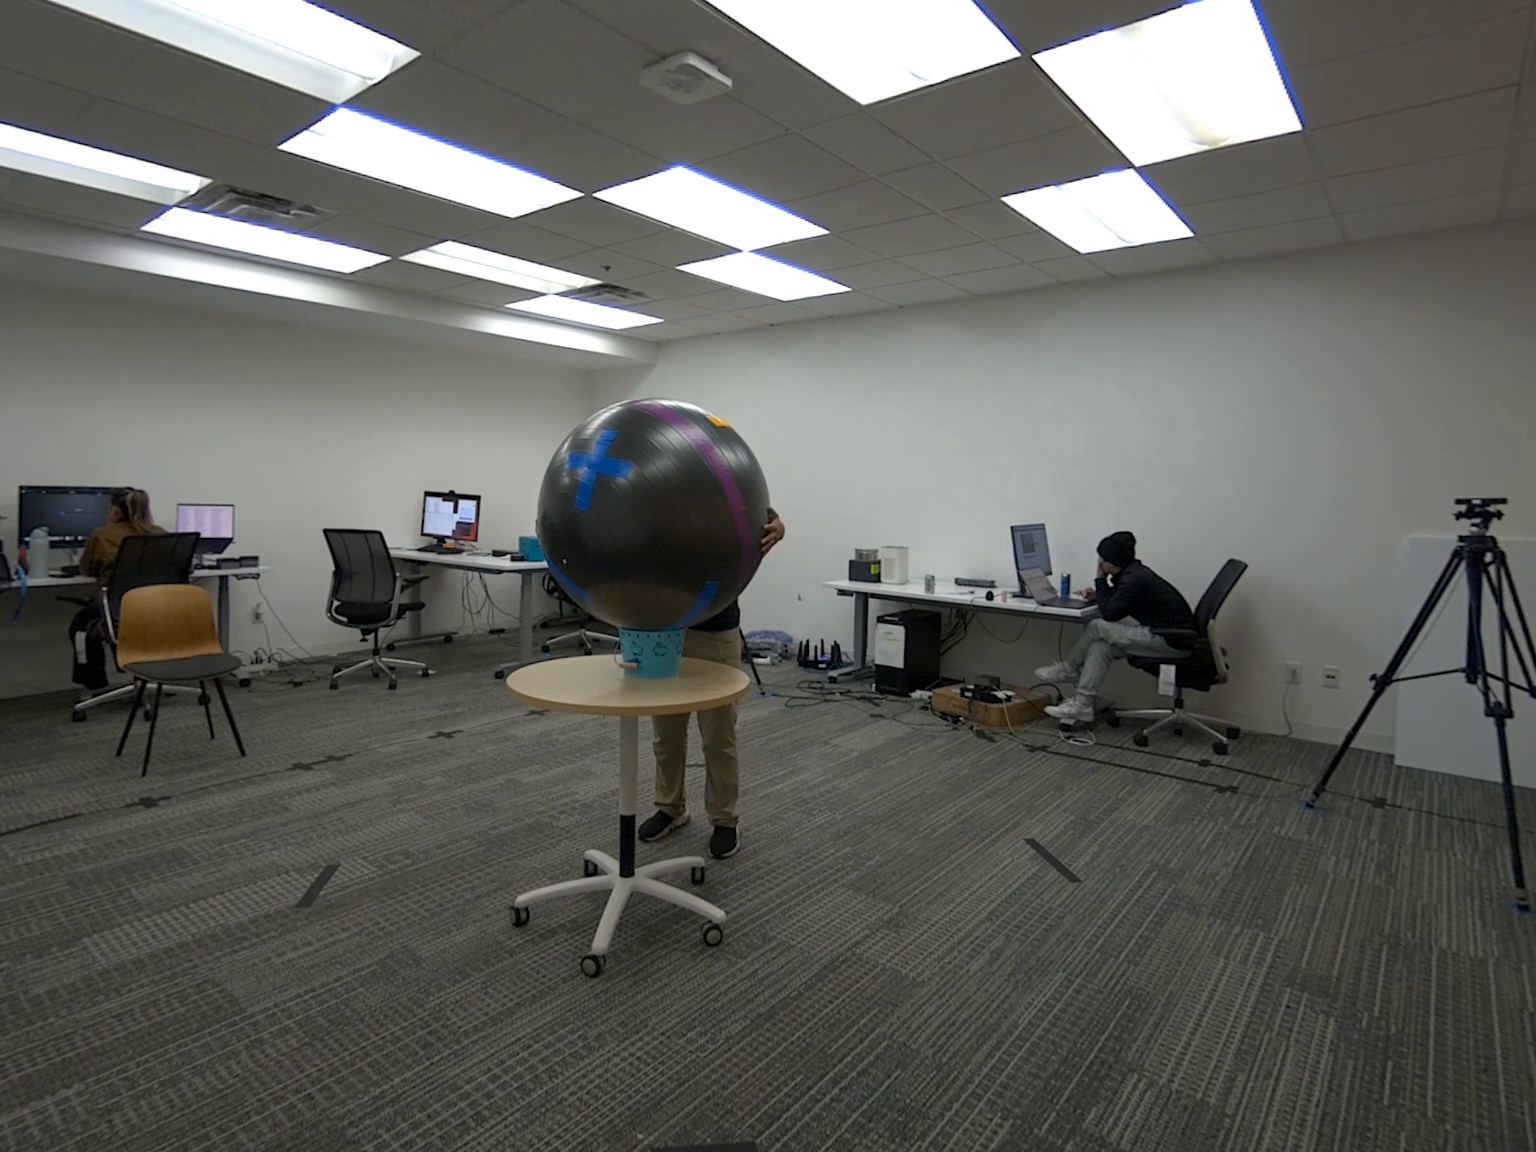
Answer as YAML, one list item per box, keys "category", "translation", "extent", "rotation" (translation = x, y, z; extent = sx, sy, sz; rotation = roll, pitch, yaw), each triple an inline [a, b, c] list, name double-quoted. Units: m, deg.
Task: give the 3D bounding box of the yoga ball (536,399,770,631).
- category: "yoga ball"
  translation: [-0.376, -0.195, 2.771]
  extent: [0.757, 0.755, 0.762]
  rotation: [1, 4, -2]
